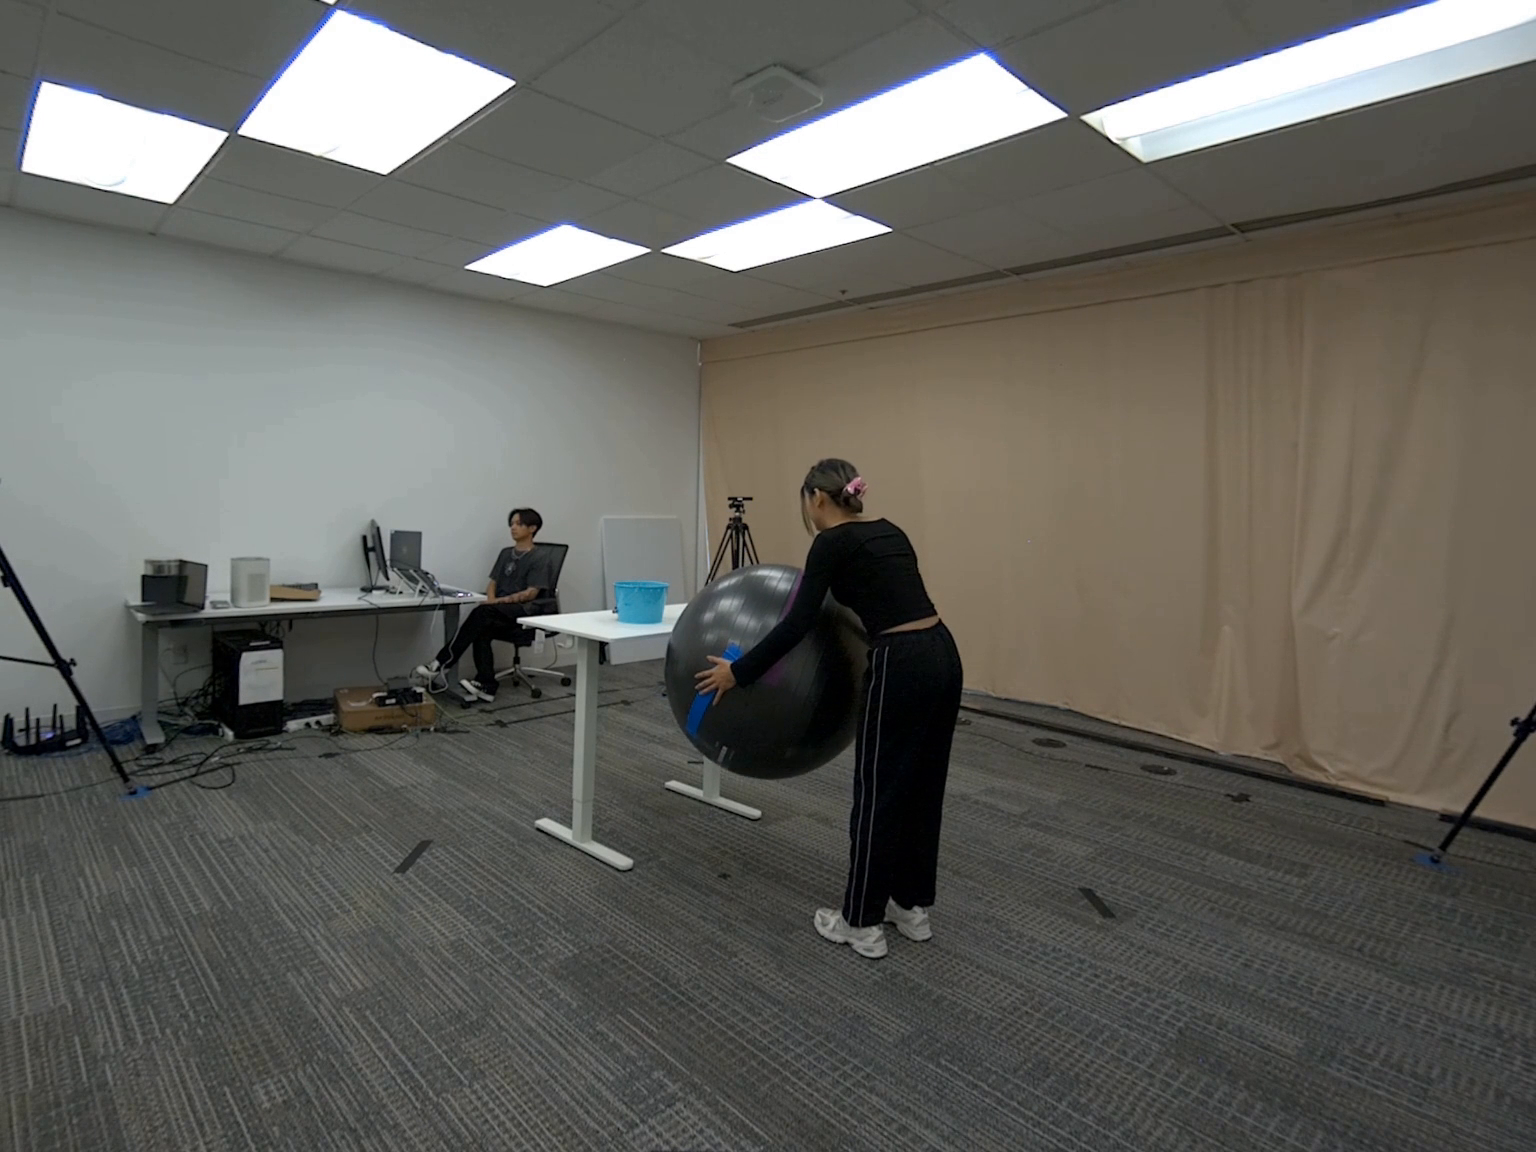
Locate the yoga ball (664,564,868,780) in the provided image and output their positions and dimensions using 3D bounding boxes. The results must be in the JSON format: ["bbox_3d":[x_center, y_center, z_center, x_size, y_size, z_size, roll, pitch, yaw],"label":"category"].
[{"bbox_3d":[0.008,0.344,3.014,0.757,0.756,0.760,1,4,-1],"label":"yoga ball"}]
